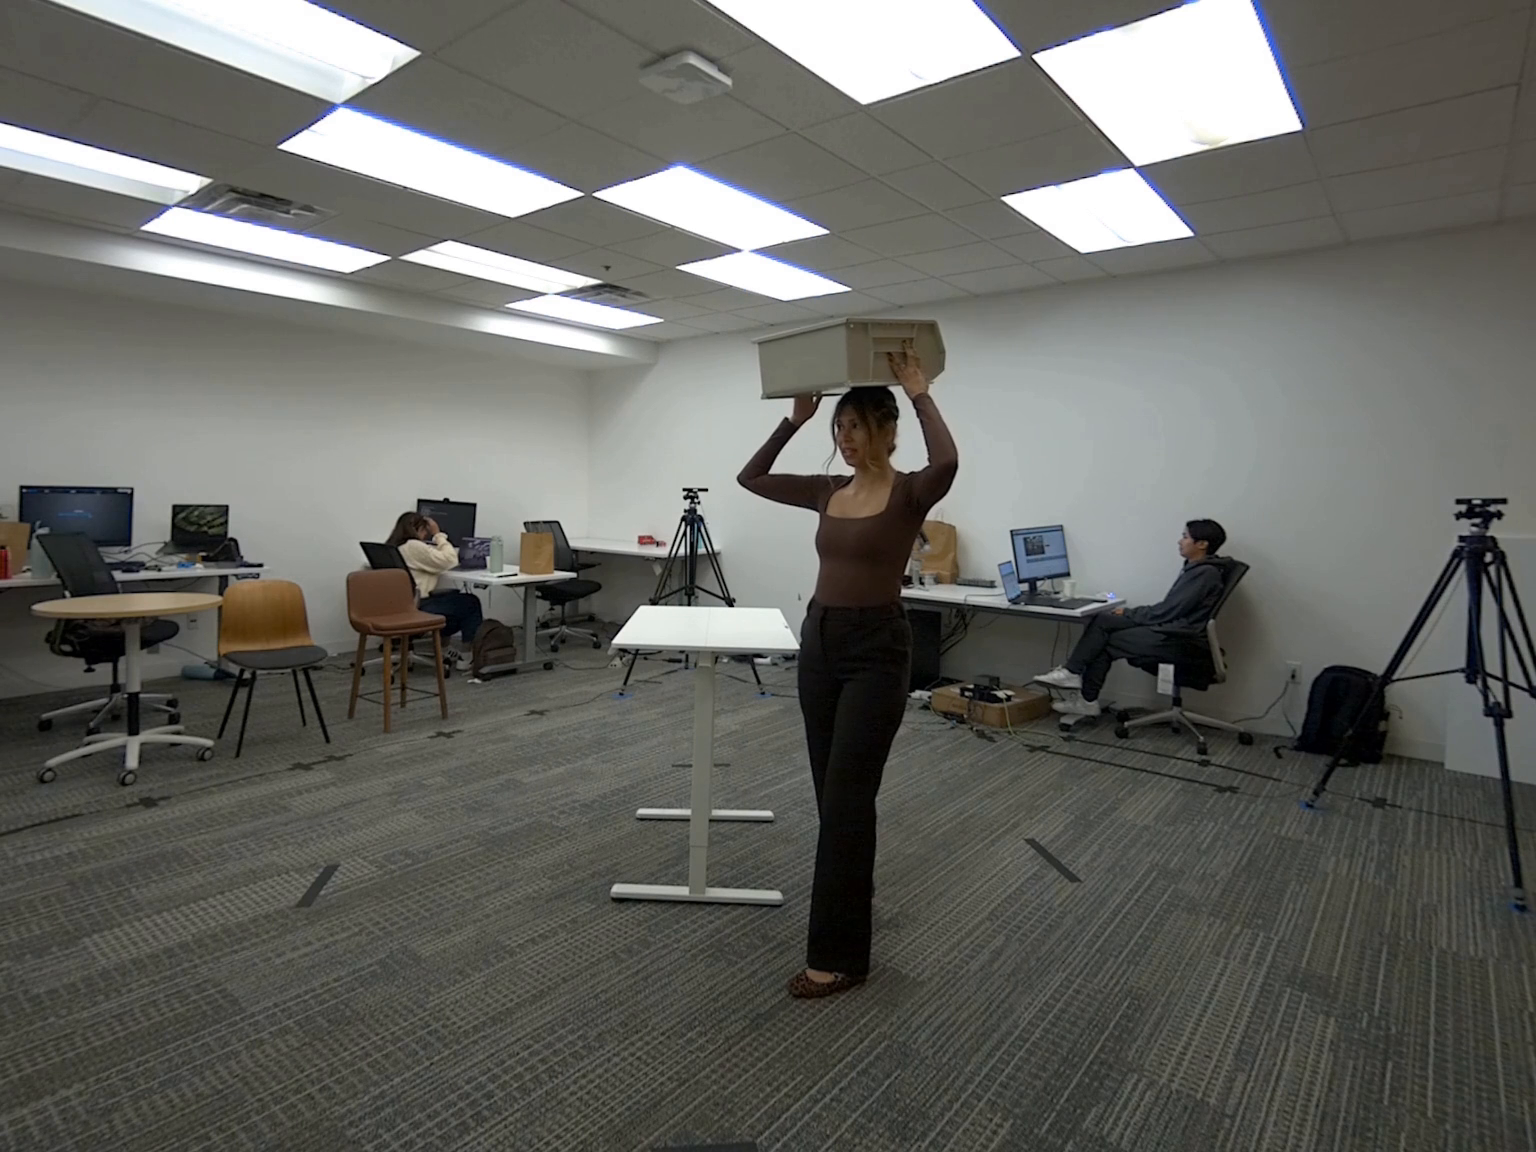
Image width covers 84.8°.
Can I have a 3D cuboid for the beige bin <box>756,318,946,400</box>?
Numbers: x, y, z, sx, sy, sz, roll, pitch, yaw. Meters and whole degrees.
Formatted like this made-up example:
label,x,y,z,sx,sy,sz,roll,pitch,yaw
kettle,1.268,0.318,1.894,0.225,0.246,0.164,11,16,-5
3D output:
label,x,y,z,sx,sy,sz,roll,pitch,yaw
beige bin,0.226,-0.631,2.497,0.368,0.187,0.436,-12,12,-34
